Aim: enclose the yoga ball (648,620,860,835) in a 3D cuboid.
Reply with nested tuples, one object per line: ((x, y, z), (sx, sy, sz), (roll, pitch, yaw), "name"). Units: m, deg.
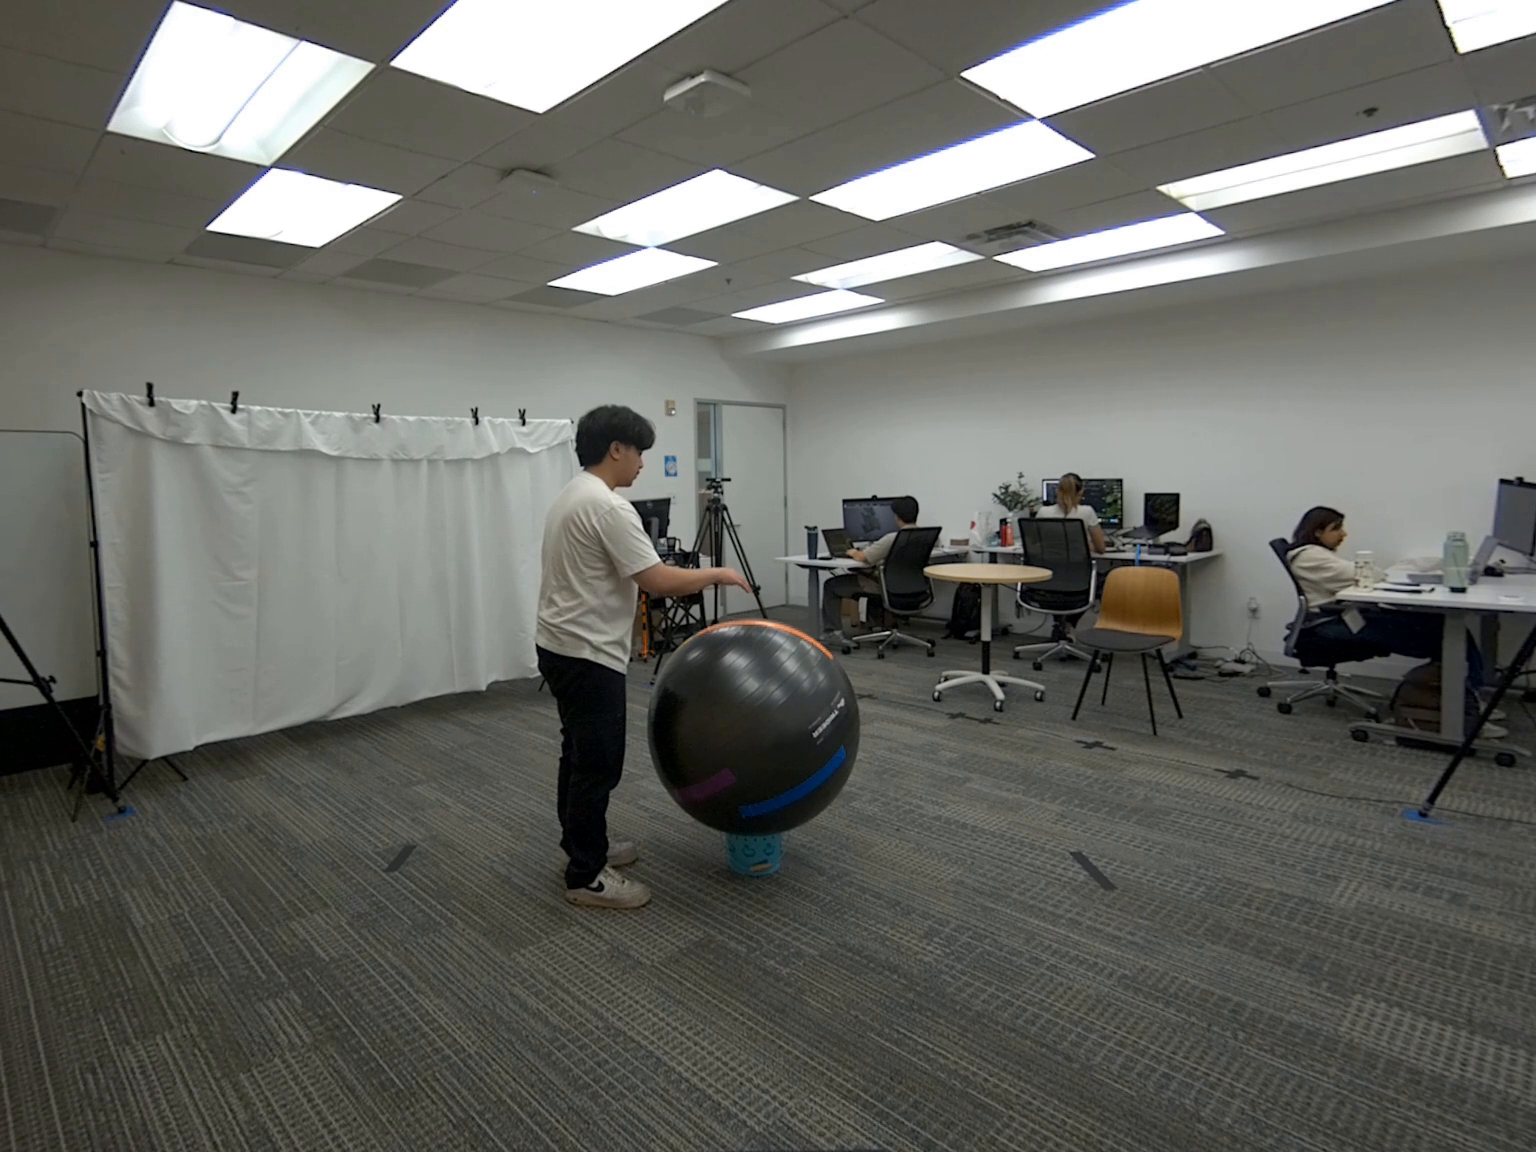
((-0.051, 0.538, 3.058), (0.757, 0.755, 0.762), (-1, 5, -2), "yoga ball")
